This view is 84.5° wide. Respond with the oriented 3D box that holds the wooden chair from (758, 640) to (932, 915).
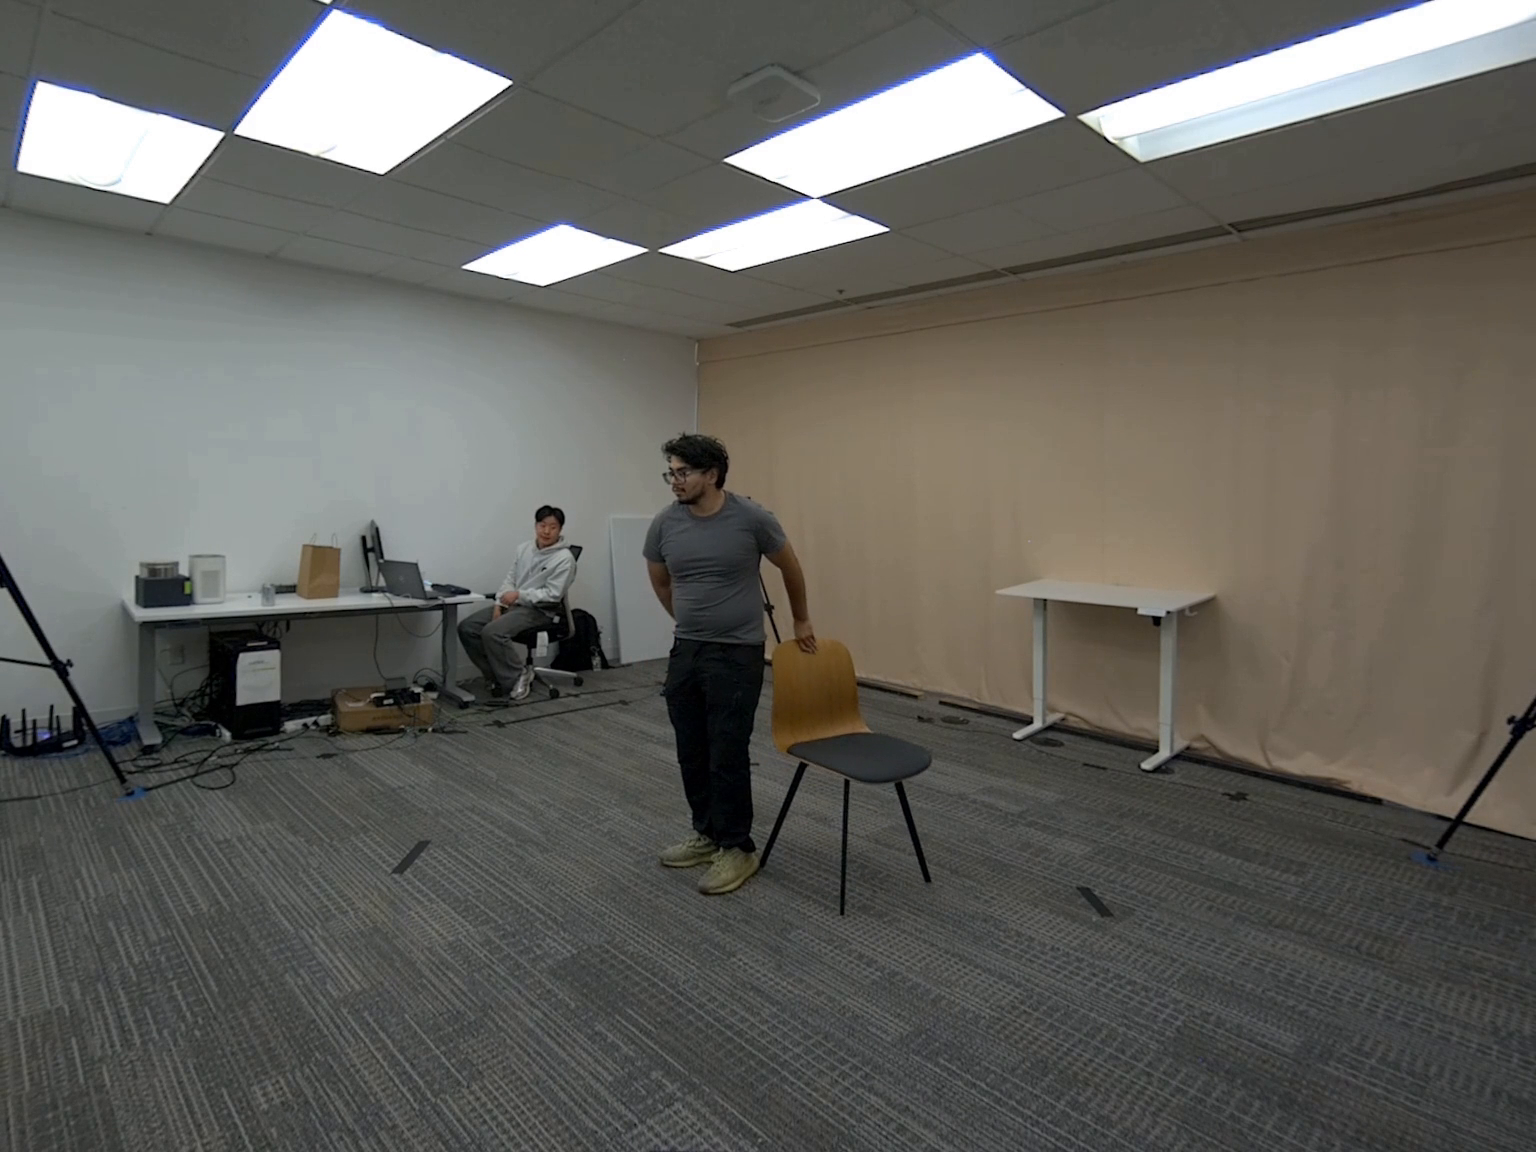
[{"bbox_3d":[0.288,0.688,3.099,0.467,0.878,0.535,-1,0,-37],"label":"wooden chair"}]
